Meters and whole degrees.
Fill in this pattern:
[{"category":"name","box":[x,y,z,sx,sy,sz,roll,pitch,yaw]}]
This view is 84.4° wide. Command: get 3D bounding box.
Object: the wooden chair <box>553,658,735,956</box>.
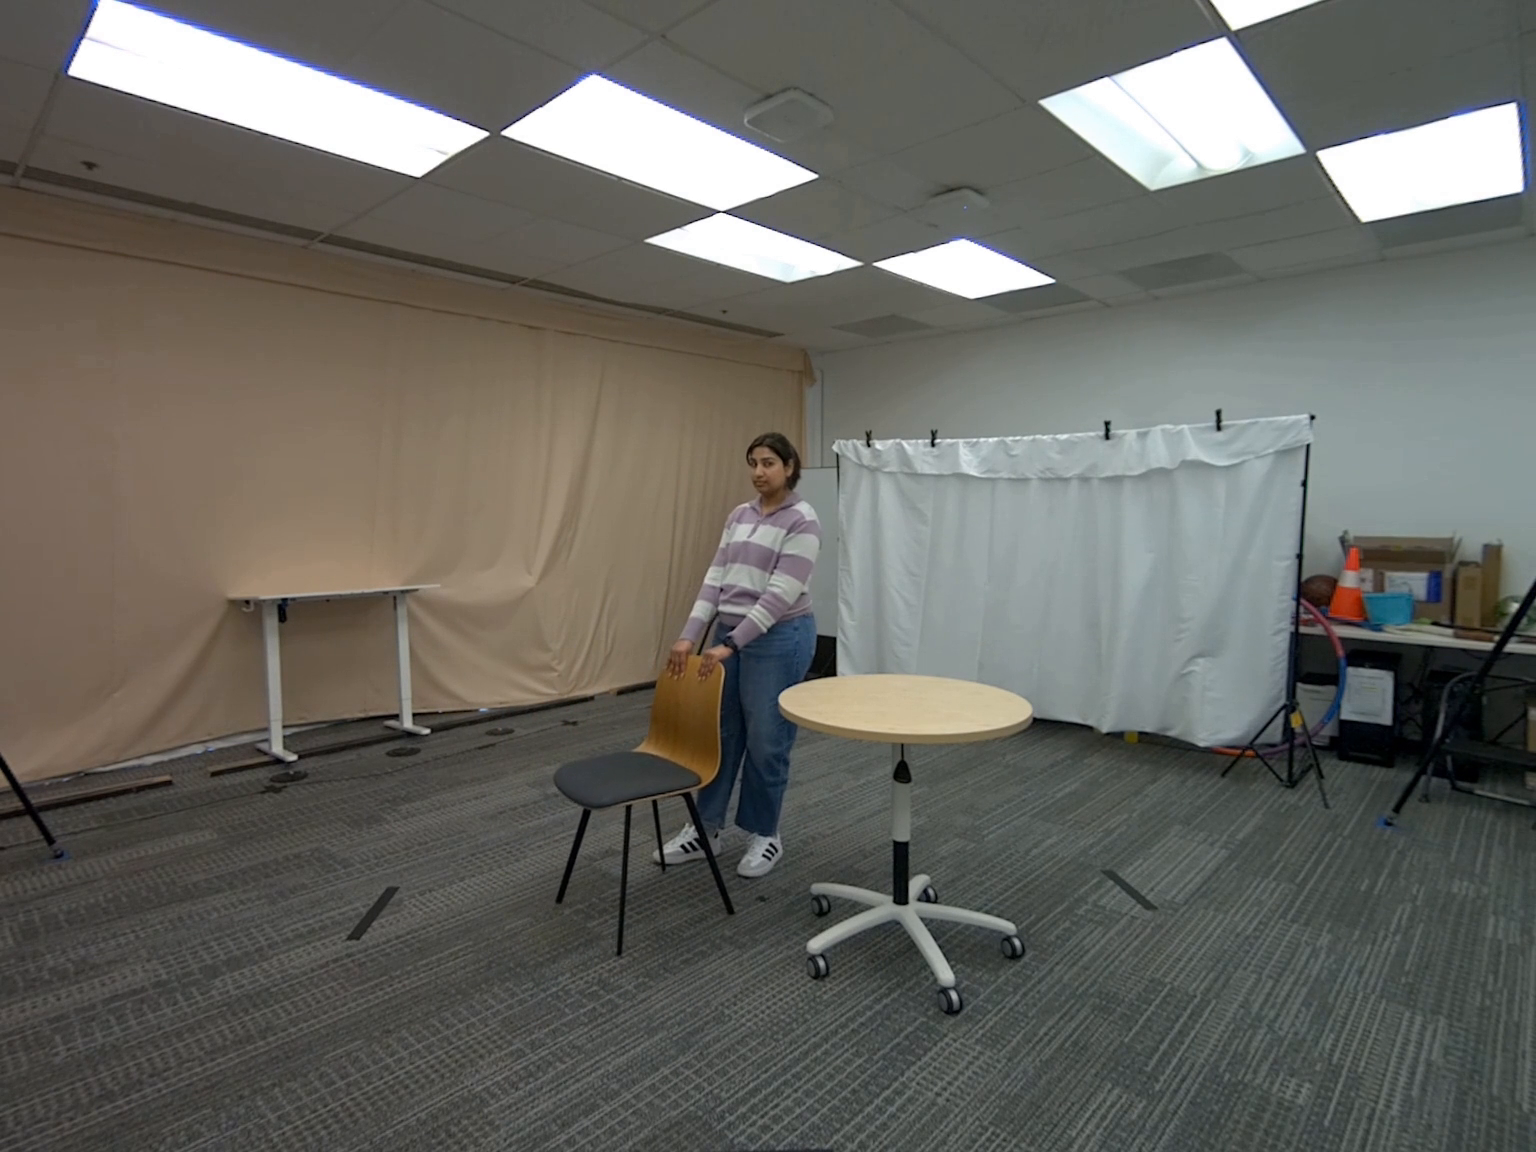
[{"category":"wooden chair","box":[-0.437,0.727,2.887,0.507,0.877,0.493,3,1,-37]}]
